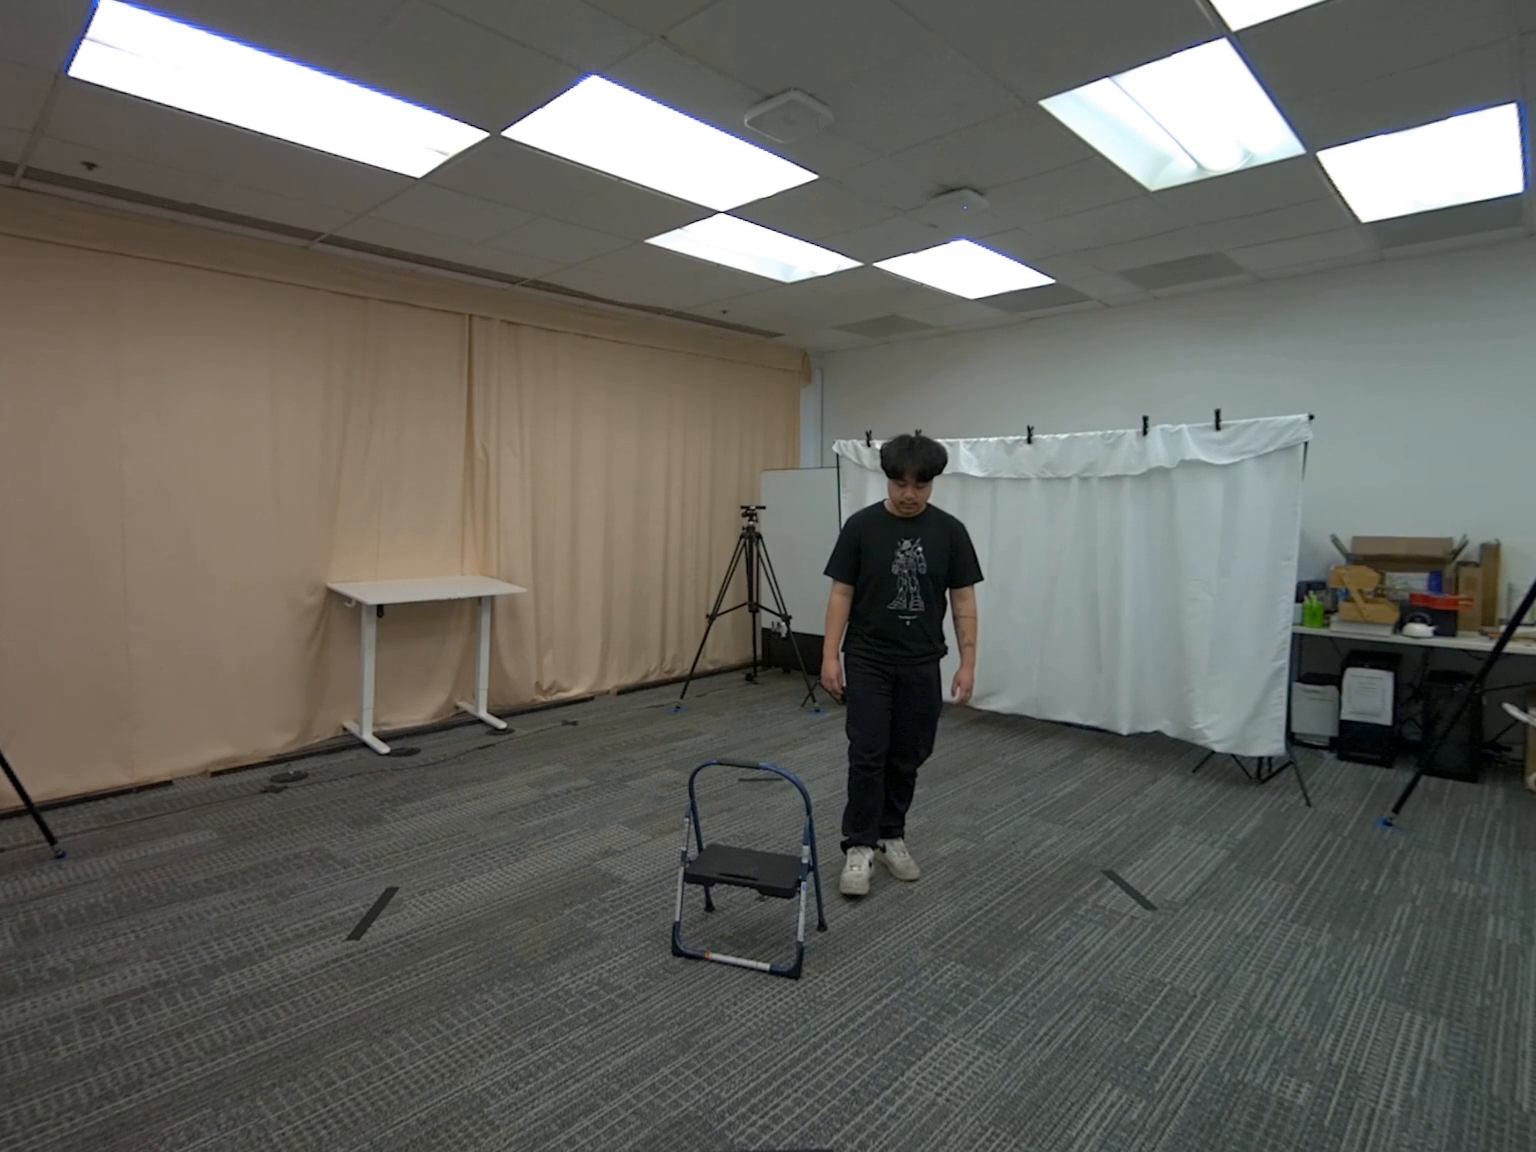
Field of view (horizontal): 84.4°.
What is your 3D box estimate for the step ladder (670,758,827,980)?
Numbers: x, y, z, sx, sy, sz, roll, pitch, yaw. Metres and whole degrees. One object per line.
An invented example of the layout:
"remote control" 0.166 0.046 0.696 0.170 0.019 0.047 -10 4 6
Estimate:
"step ladder" -0.054 0.866 2.681 0.439 0.605 0.343 1 3 18
